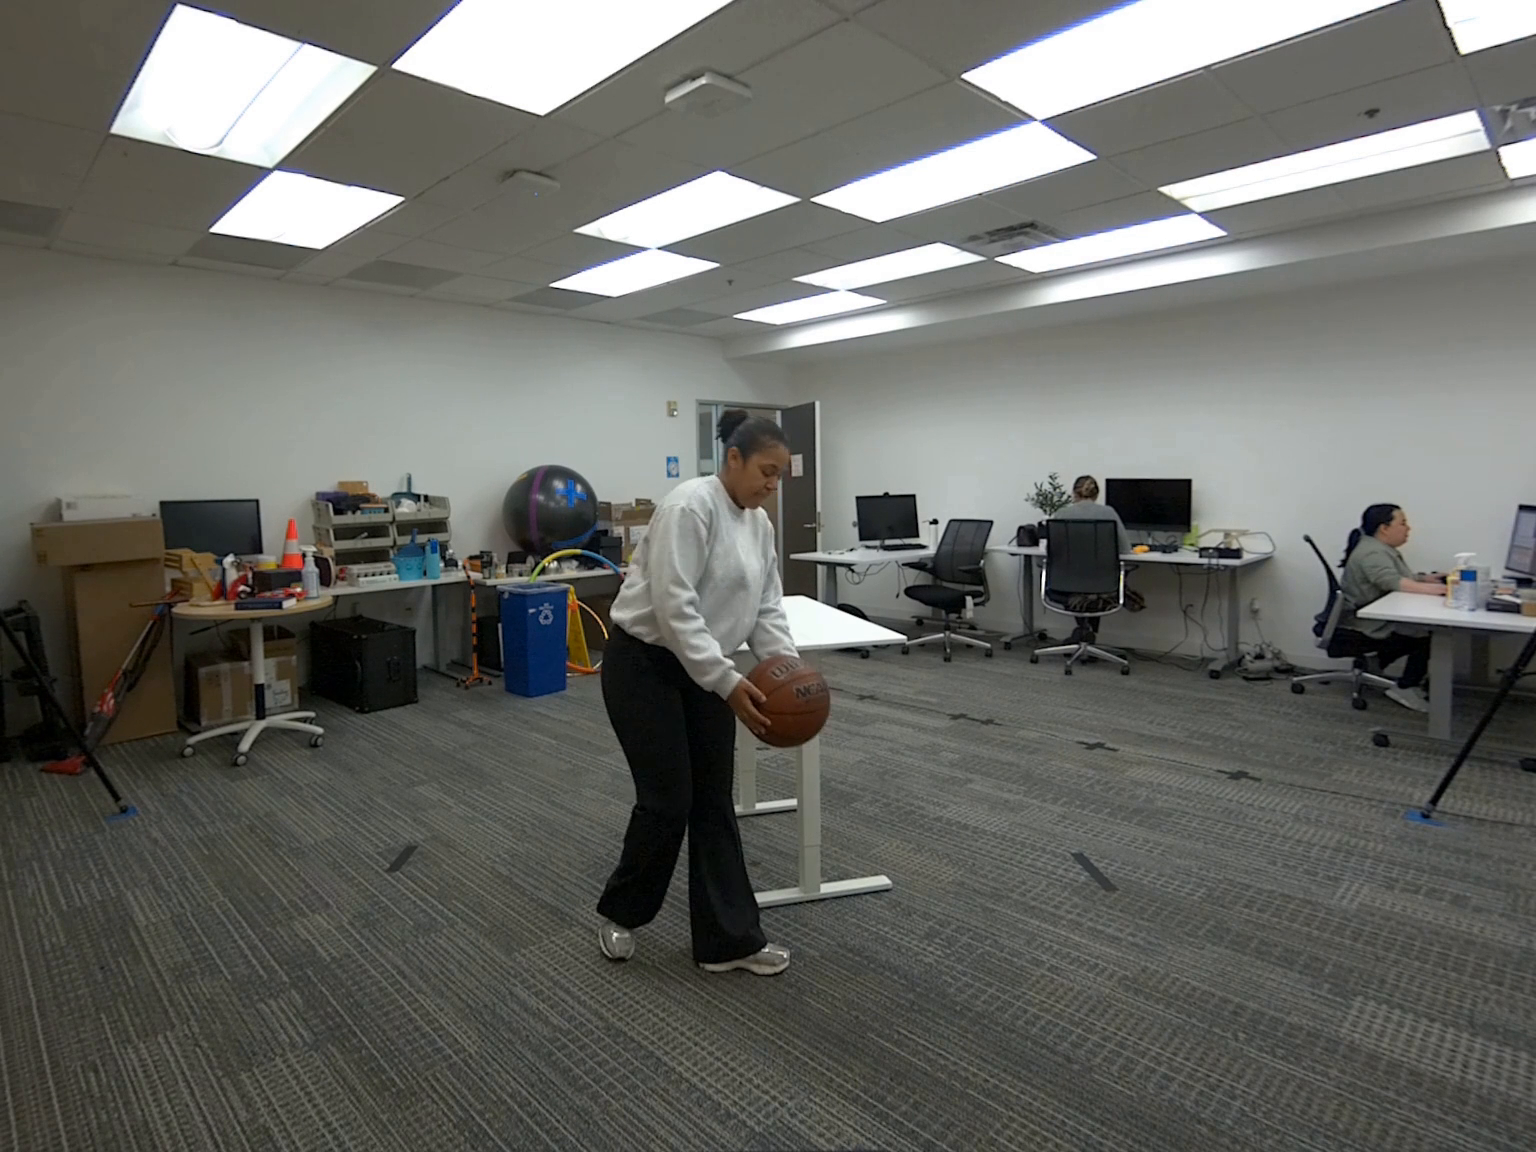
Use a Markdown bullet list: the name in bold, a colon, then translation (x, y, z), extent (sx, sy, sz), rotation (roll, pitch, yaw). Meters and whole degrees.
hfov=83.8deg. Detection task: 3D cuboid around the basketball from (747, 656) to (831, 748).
- **basketball**: translation (0.031, 0.332, 2.253), extent (0.236, 0.235, 0.237), rotation (-1, 5, -2)
